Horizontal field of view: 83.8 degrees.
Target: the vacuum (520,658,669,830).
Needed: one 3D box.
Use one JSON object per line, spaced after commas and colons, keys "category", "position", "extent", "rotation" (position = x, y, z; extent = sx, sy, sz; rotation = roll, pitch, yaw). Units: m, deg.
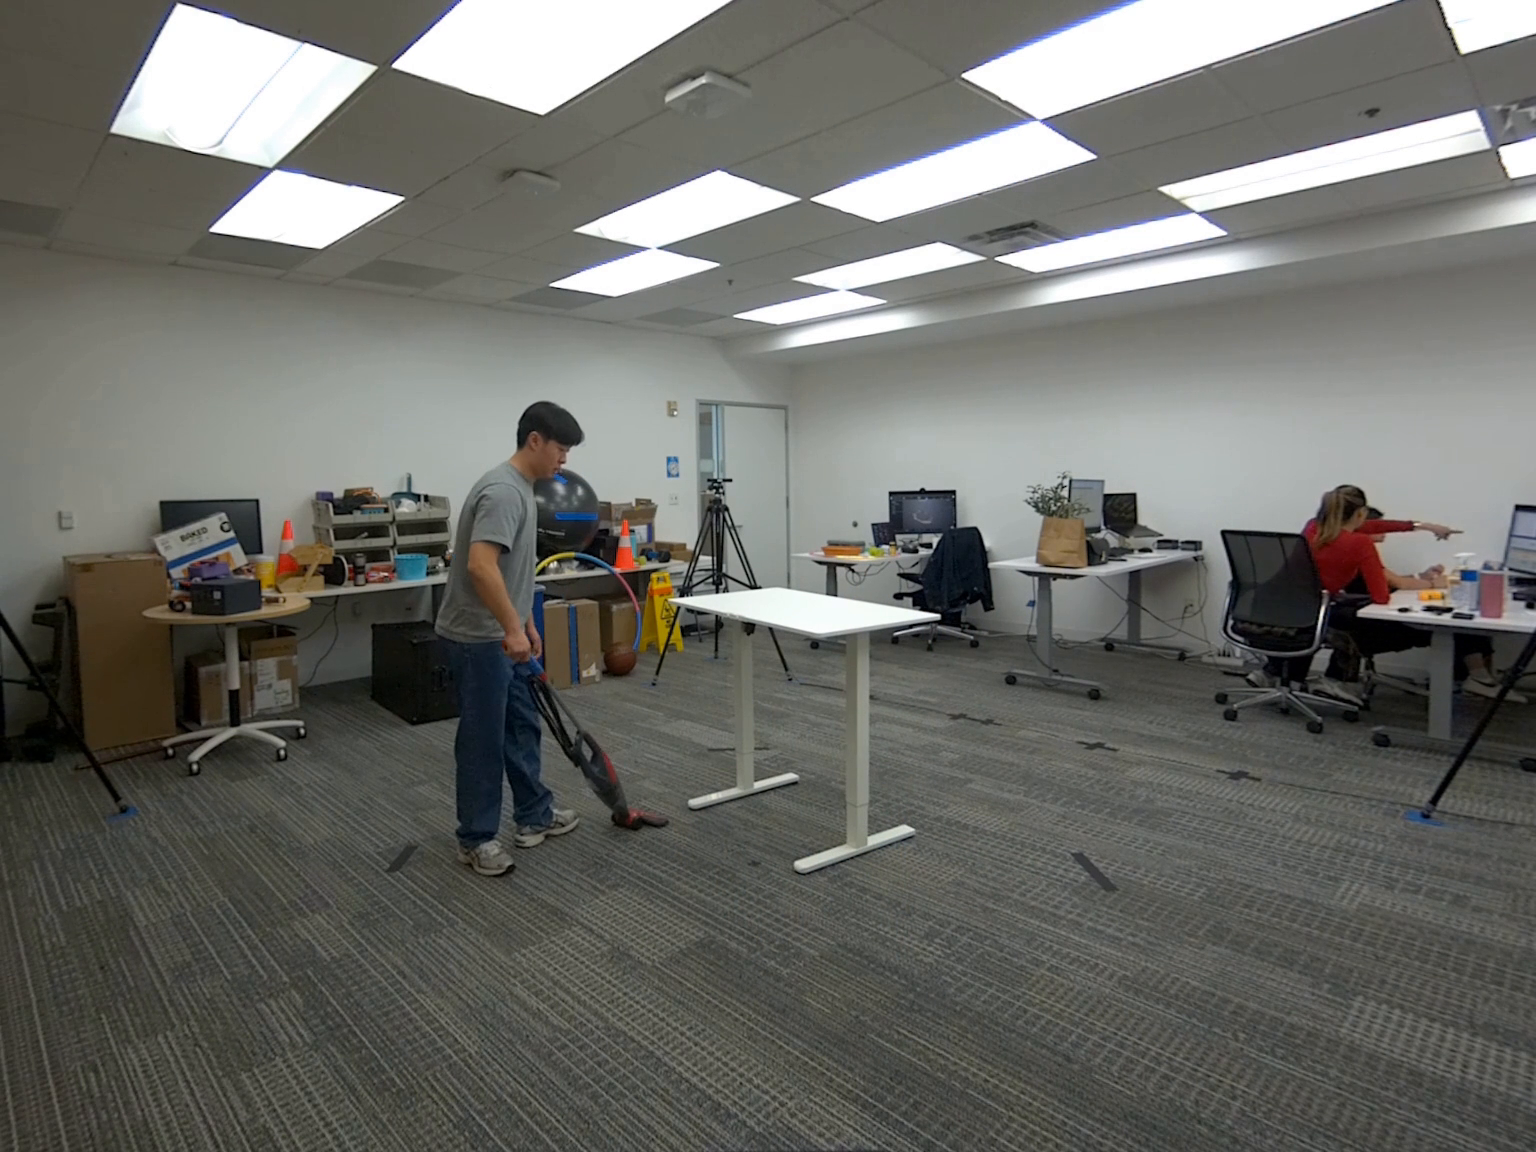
{"category": "vacuum", "position": [-0.719, 0.629, 3.236], "extent": [0.259, 1.014, 0.145], "rotation": [1, 42, 34]}
